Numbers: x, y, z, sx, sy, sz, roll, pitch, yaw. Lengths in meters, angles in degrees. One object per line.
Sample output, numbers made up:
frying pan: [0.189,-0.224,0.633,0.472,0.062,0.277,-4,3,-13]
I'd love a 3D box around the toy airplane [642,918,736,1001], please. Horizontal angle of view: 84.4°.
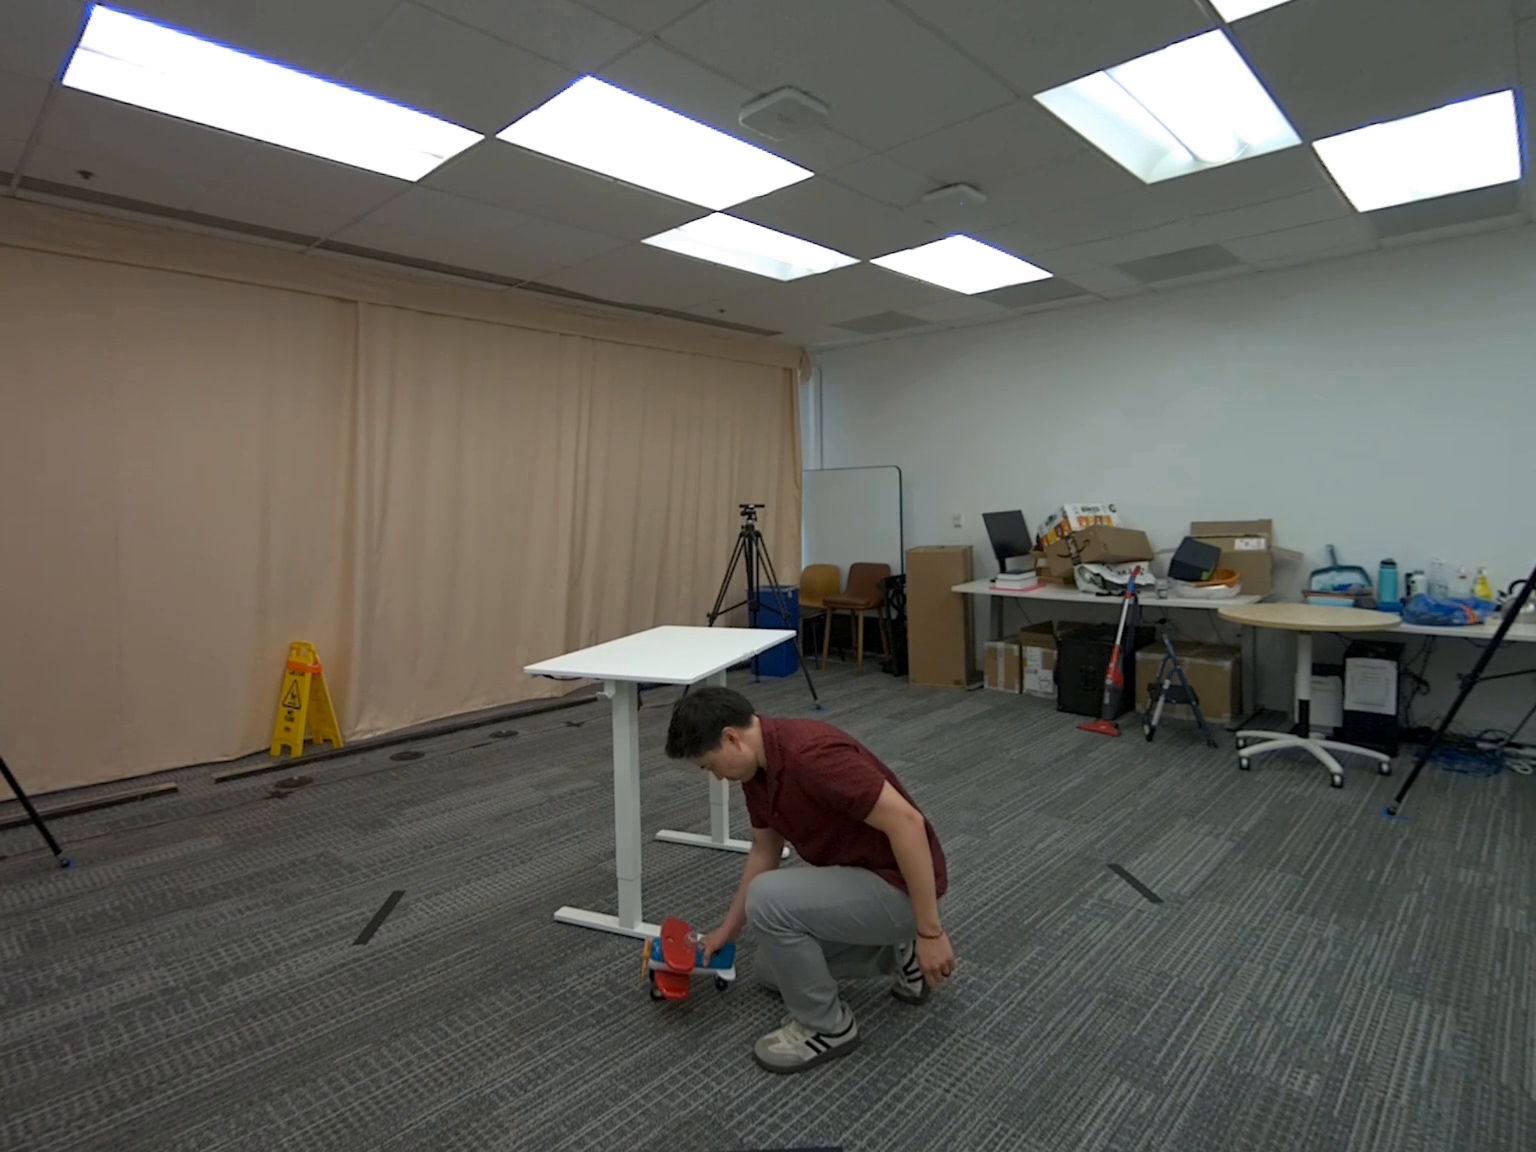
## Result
toy airplane: [-0.224,1.092,2.379,0.252,0.156,0.259,-5,6,-32]
